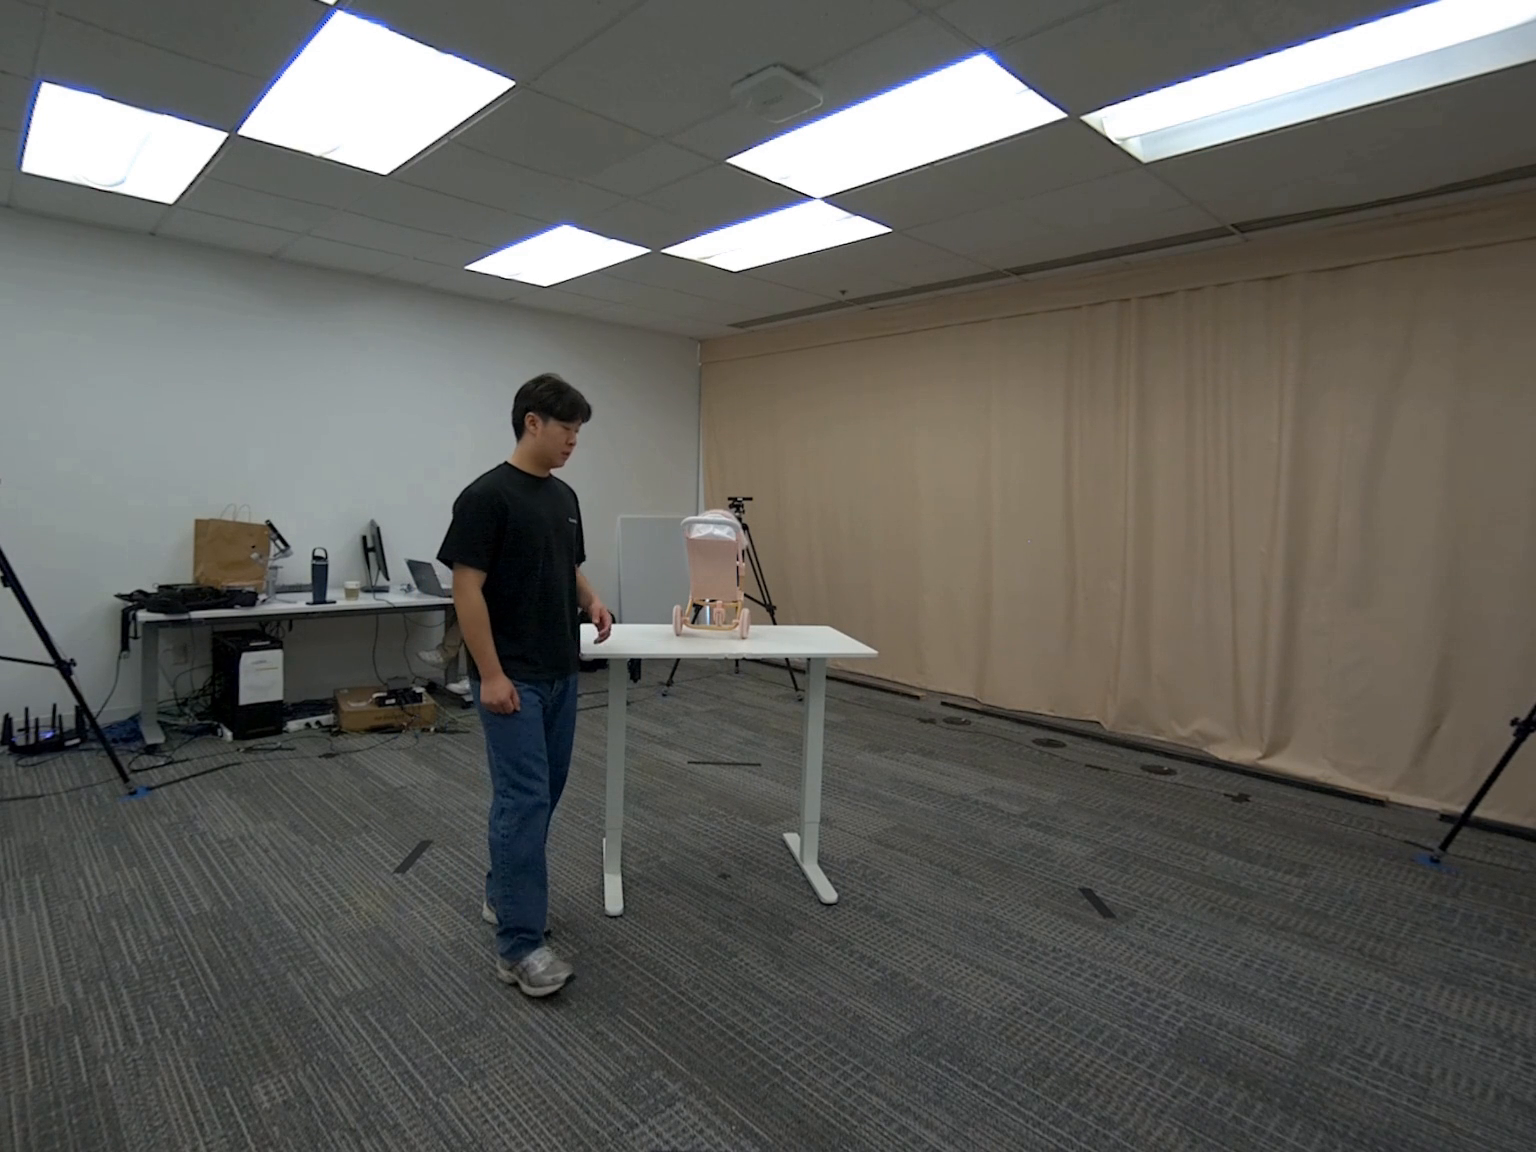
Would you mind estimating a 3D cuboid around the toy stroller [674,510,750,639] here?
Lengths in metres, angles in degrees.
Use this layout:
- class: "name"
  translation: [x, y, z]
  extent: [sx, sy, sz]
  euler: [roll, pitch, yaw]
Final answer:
- class: "toy stroller"
  translation: [-0.198, -0.005, 3.147]
  extent: [0.284, 0.528, 0.343]
  euler: [3, 19, 9]
